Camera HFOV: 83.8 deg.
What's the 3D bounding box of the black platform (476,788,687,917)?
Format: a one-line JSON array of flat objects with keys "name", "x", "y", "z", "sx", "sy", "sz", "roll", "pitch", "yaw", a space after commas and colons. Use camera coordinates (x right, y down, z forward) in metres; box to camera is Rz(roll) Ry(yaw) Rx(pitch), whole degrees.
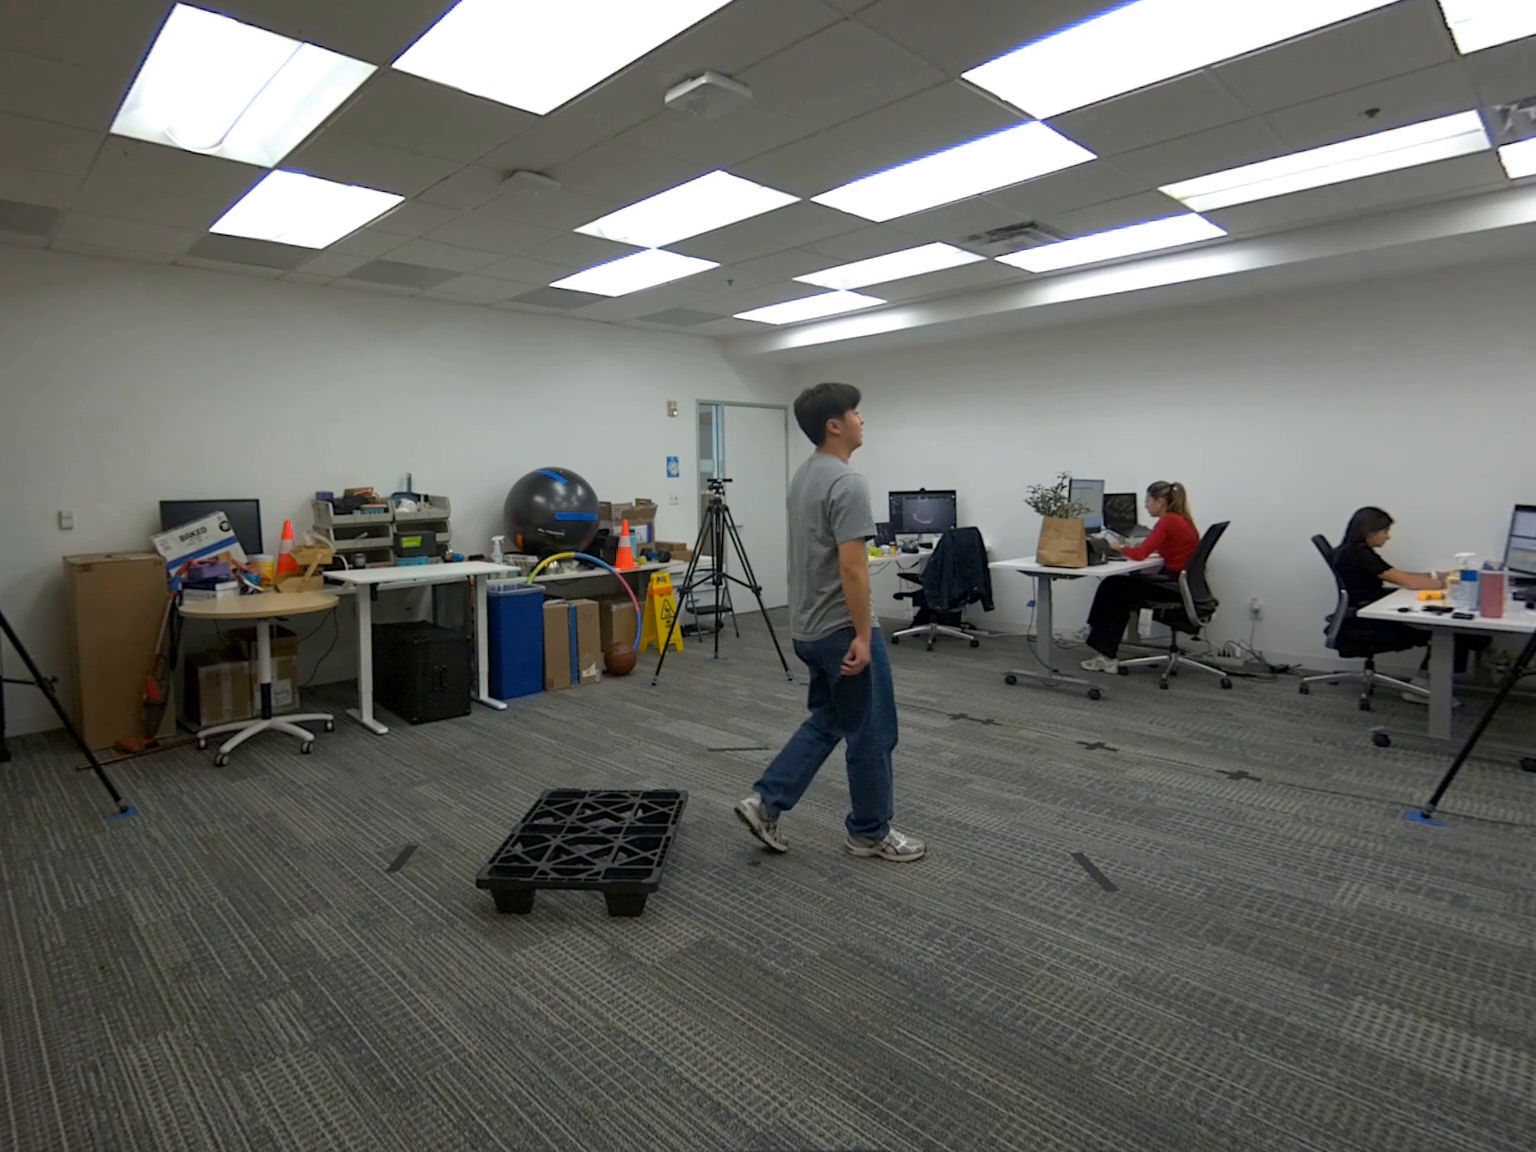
[{"name": "black platform", "x": -0.625, "y": 0.983, "z": 3.119, "sx": 0.608, "sy": 0.142, "sz": 0.806, "roll": 0, "pitch": 7, "yaw": 3}]
